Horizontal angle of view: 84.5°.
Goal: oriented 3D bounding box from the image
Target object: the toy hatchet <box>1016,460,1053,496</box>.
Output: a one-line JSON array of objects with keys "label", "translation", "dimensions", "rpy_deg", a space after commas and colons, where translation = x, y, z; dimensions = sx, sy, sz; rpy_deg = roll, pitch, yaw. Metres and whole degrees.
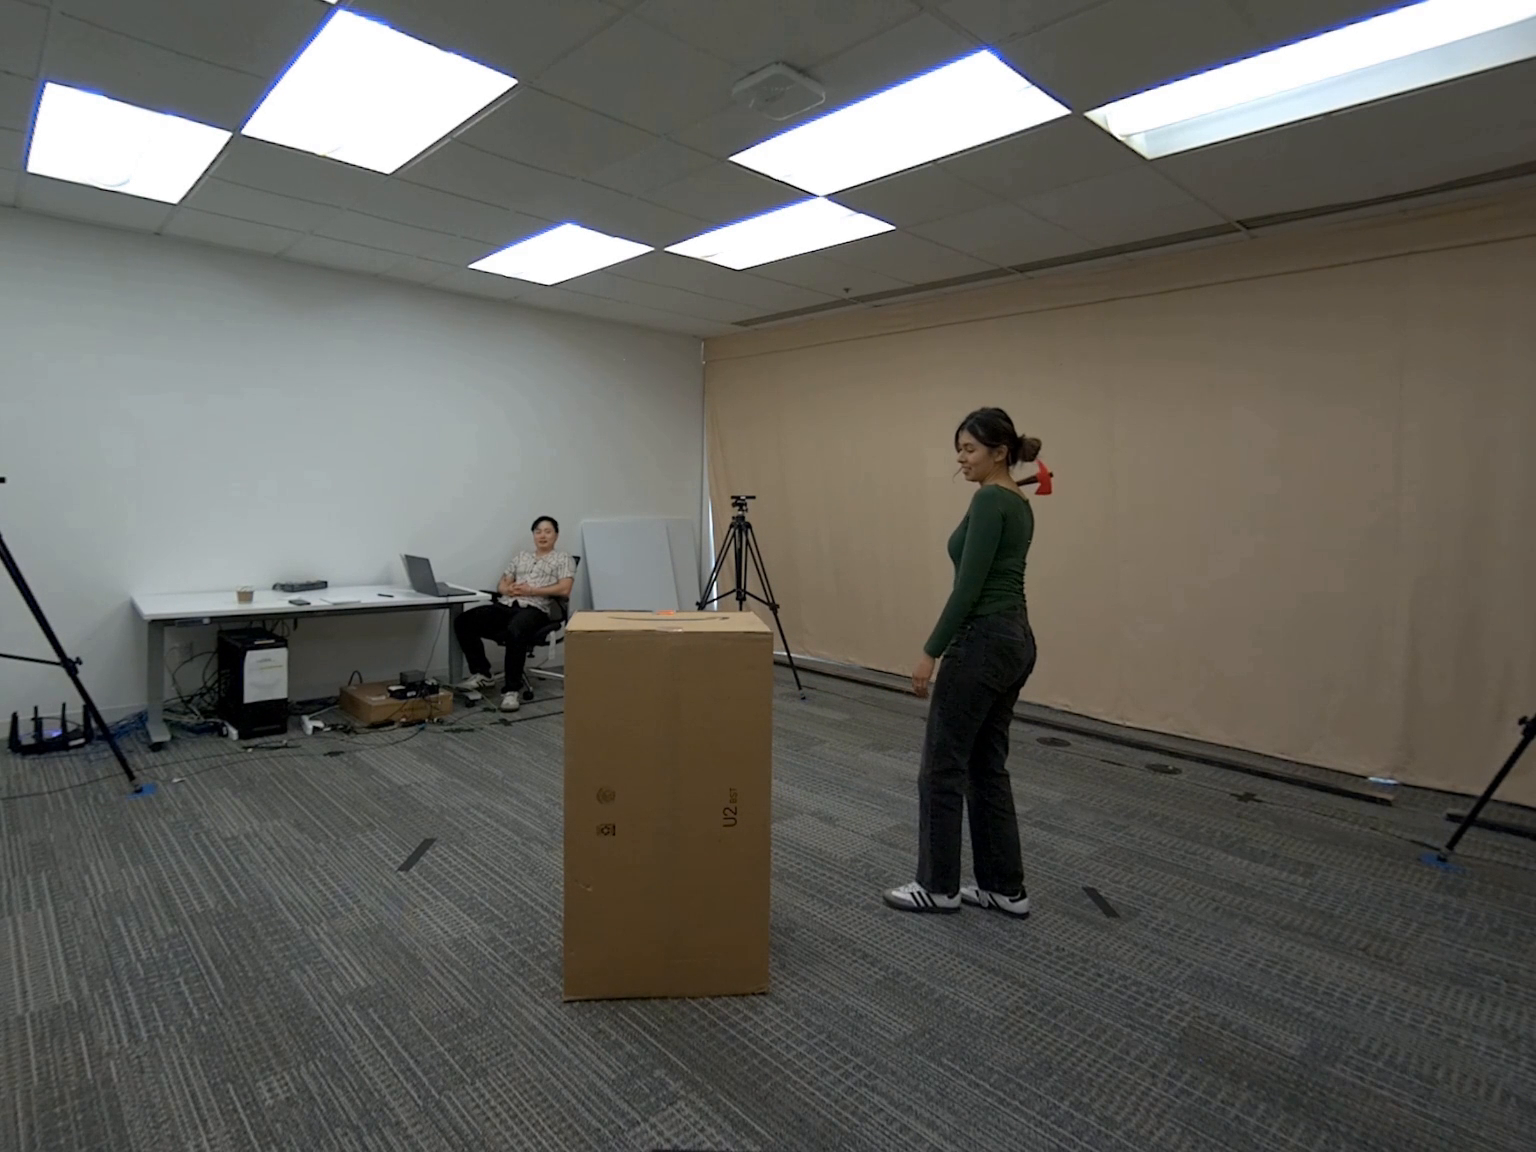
[{"label": "toy hatchet", "translation": [0.928, -0.306, 3.119], "dimensions": [0.271, 0.131, 0.029], "rpy_deg": [-38, -1, 31]}]
